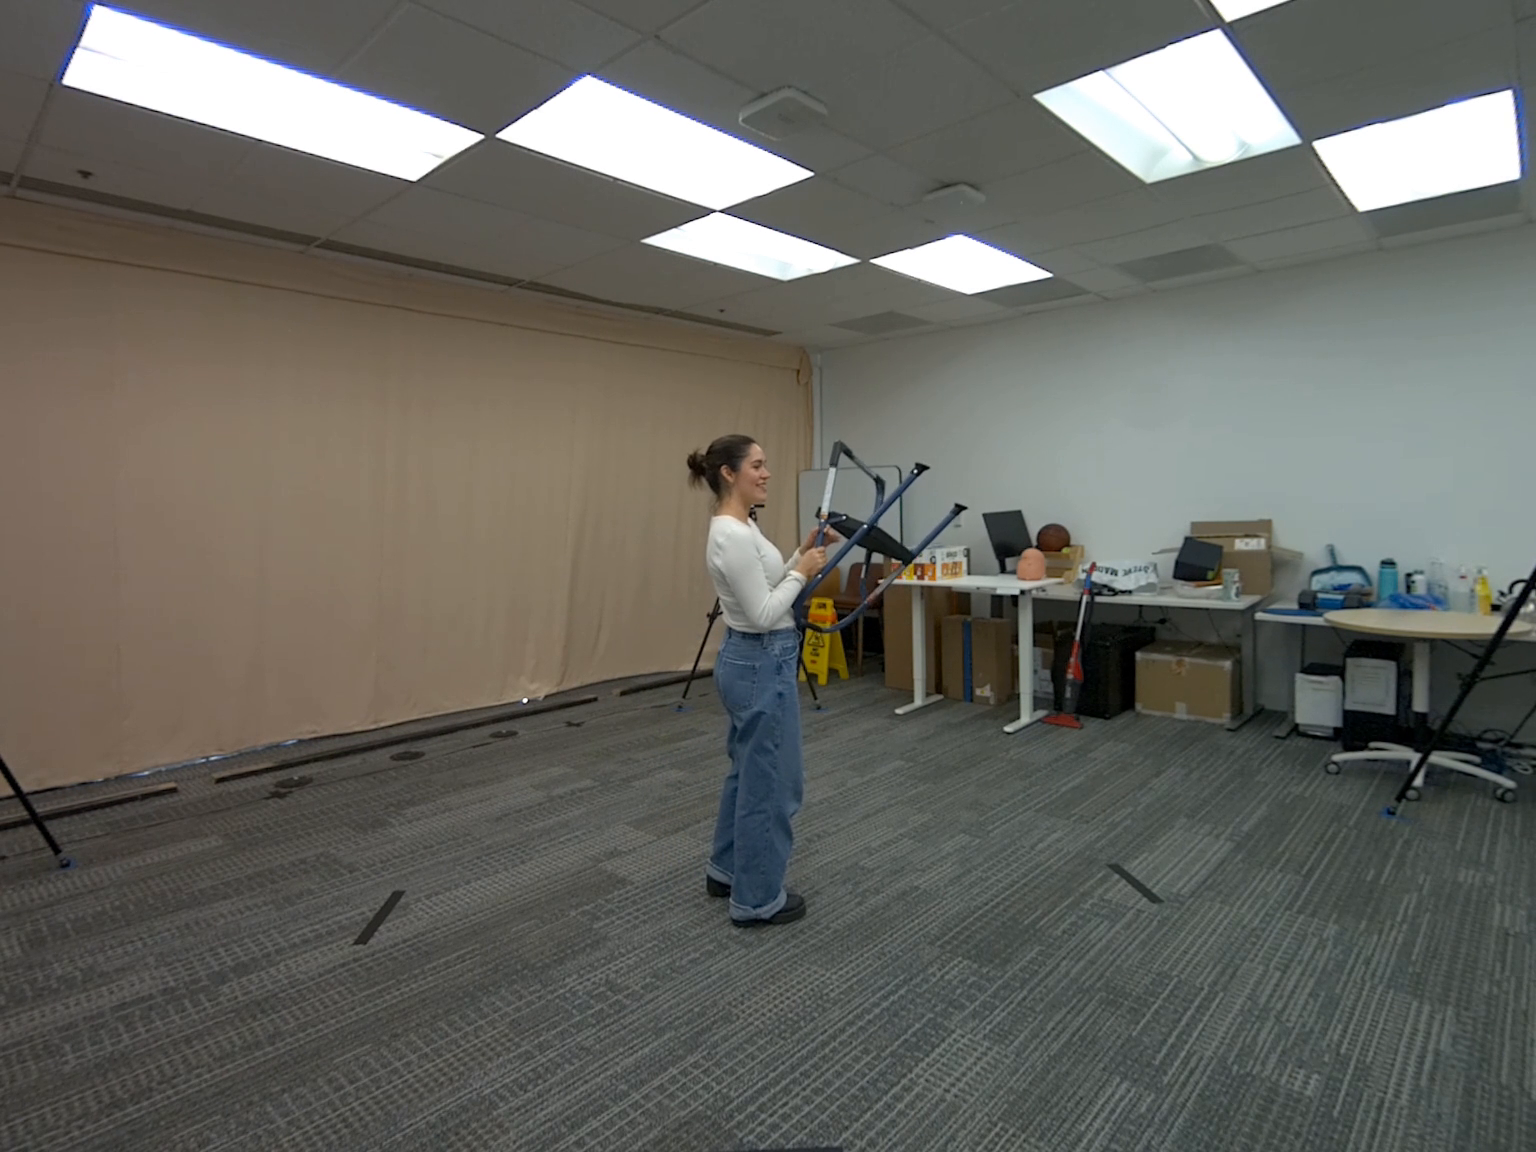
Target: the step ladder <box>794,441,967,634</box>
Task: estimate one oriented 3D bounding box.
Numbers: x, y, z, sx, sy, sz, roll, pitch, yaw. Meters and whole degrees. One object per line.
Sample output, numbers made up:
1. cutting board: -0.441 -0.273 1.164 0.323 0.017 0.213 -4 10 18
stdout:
1. step ladder: 0.331 -0.073 2.832 0.362 0.606 0.415 24 -2 36
